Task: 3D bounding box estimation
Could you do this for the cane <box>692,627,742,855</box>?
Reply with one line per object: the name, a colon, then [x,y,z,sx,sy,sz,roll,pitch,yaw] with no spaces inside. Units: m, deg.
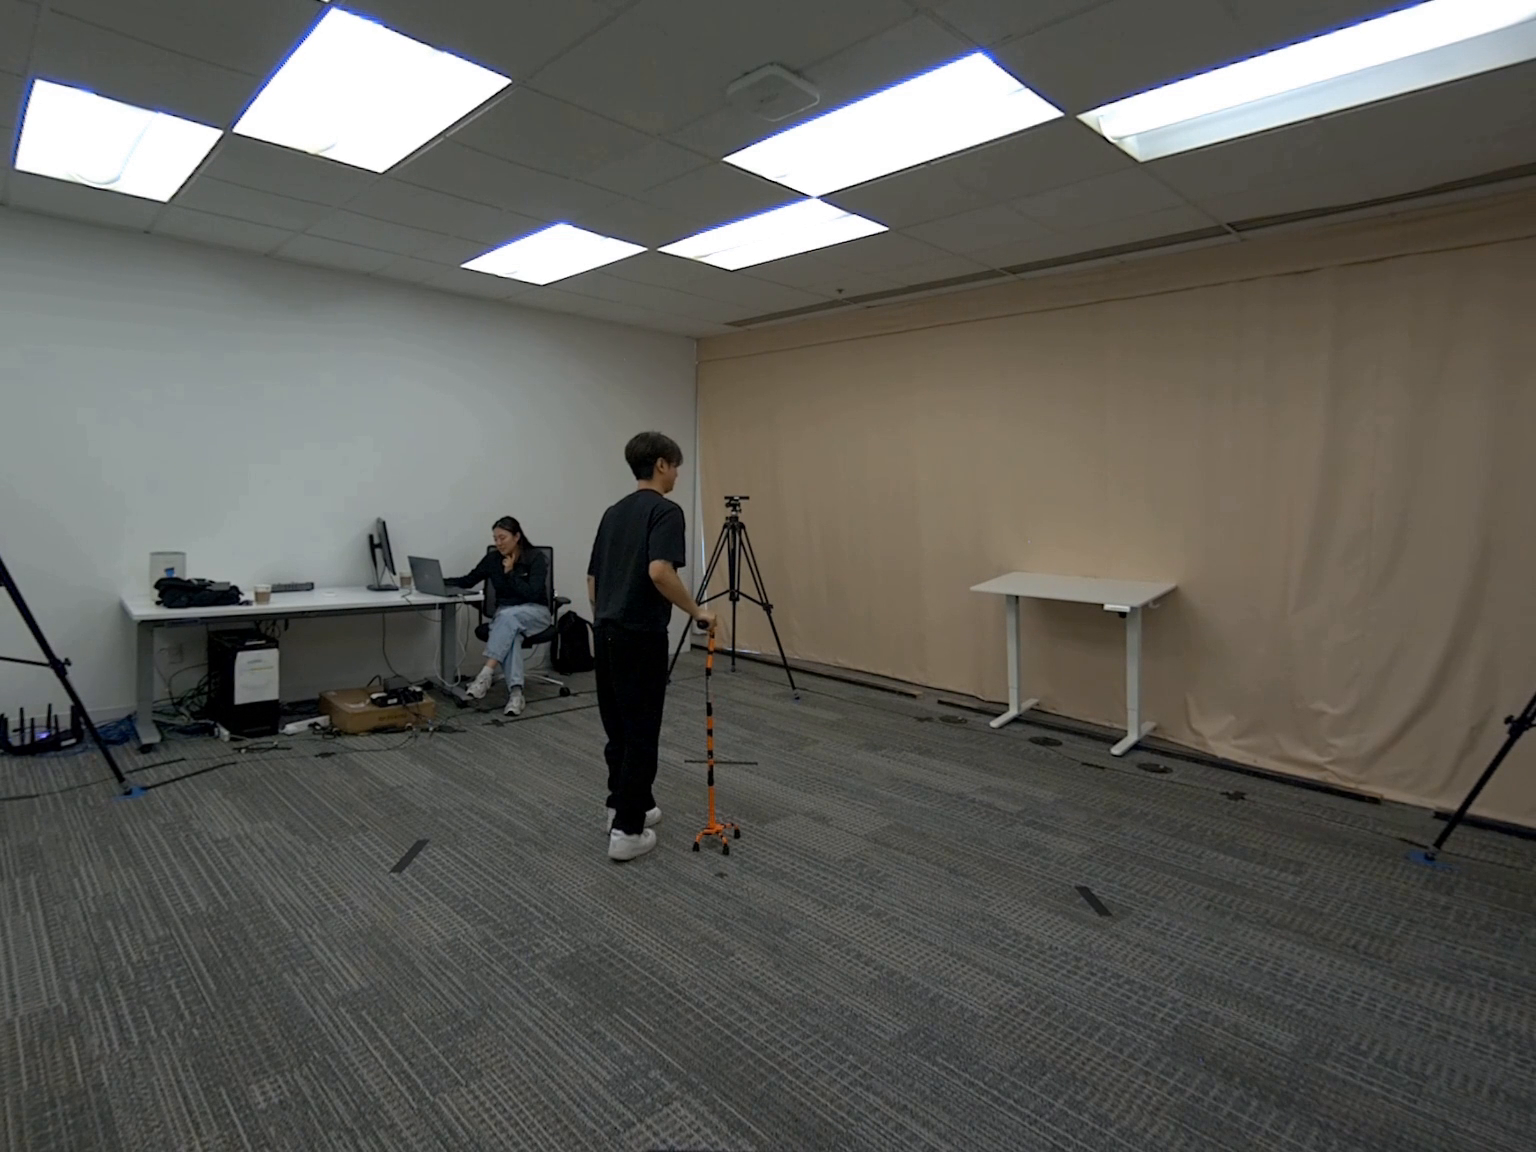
cane: [-0.218,0.628,3.373,0.153,0.907,0.204,1,2,12]
